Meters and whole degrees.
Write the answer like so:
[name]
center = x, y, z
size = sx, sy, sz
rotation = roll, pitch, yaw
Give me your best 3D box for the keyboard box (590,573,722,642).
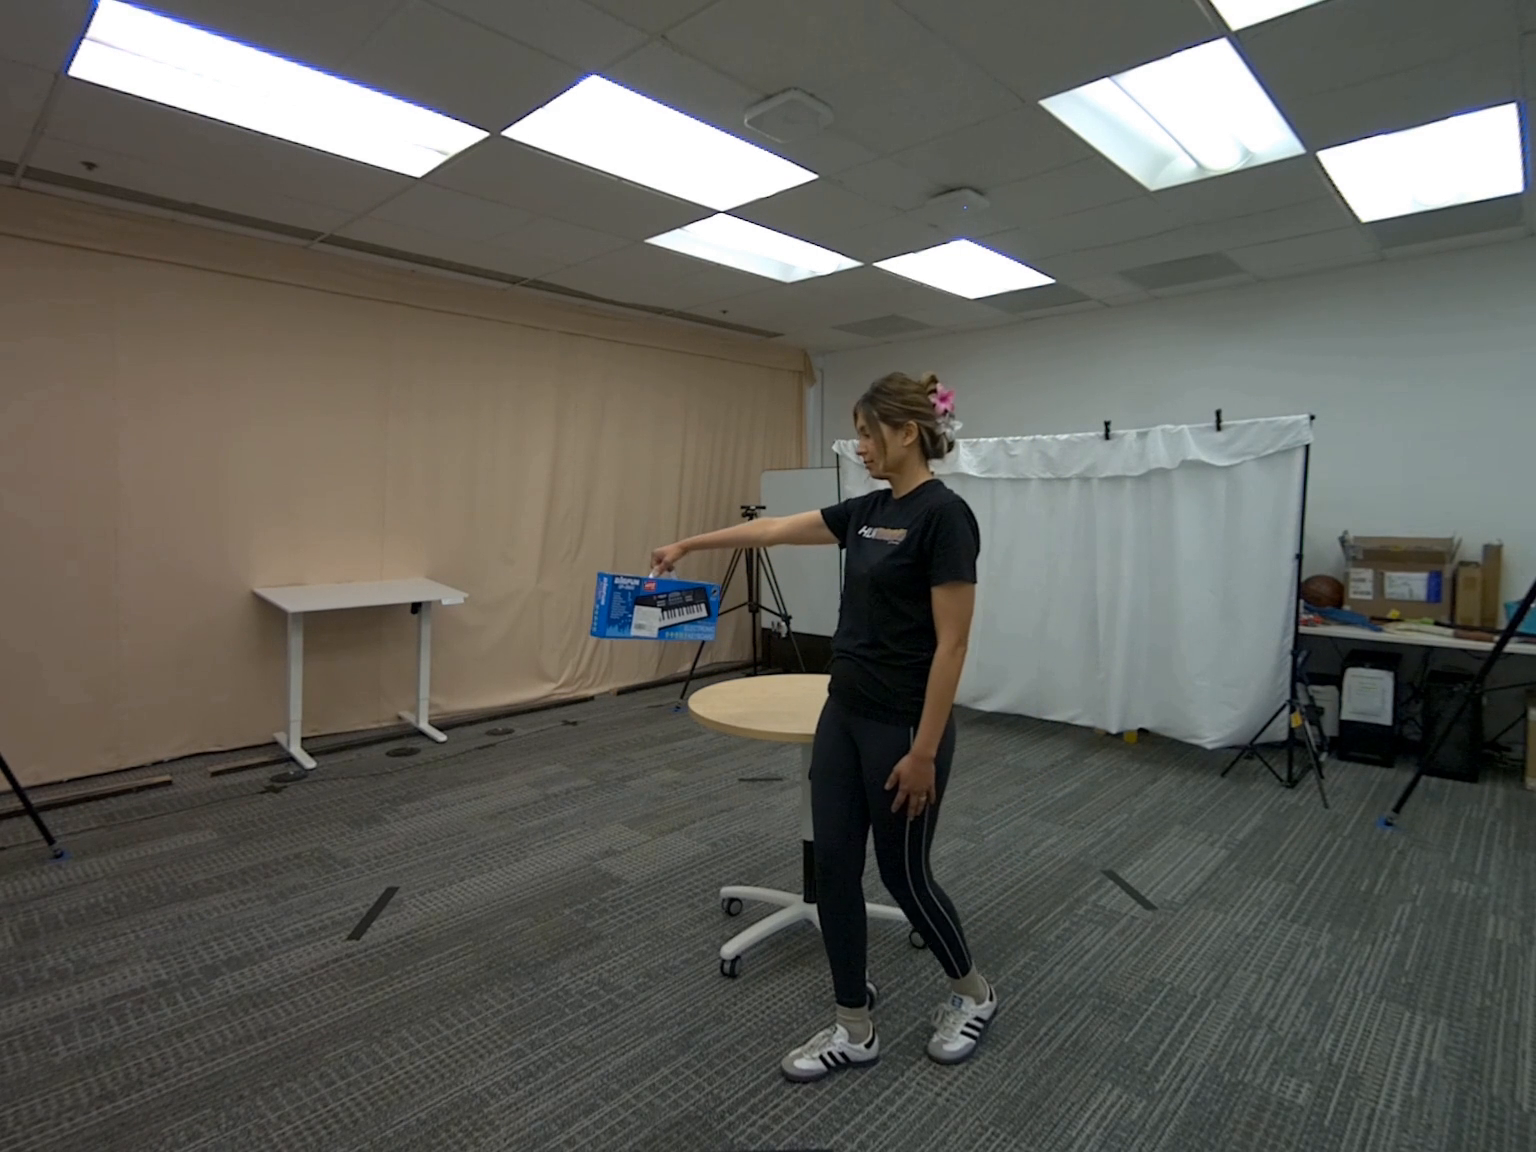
[keyboard box]
center = -0.304, 0.096, 2.384
size = 0.061, 0.176, 0.422
rotation = 6, 0, 40
